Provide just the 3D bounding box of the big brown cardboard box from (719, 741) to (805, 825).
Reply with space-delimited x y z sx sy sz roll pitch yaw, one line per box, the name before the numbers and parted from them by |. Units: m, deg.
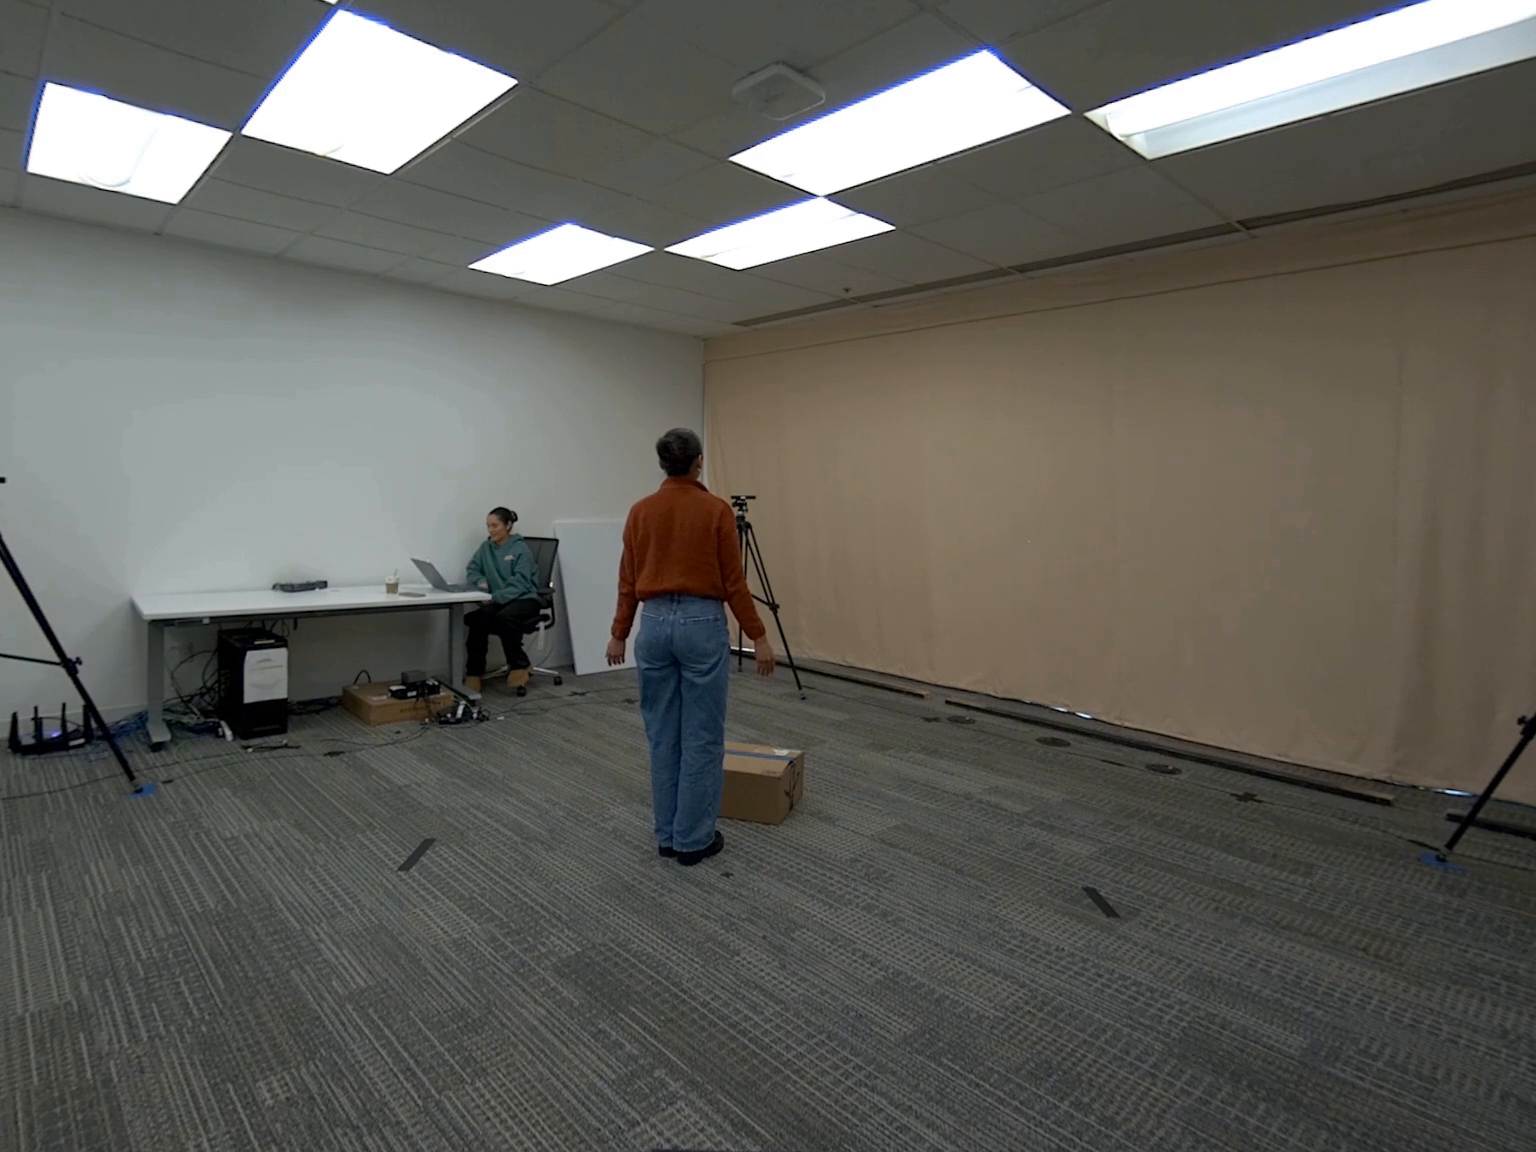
big brown cardboard box | -0.167 0.919 3.851 0.597 0.232 0.413 3 4 17
